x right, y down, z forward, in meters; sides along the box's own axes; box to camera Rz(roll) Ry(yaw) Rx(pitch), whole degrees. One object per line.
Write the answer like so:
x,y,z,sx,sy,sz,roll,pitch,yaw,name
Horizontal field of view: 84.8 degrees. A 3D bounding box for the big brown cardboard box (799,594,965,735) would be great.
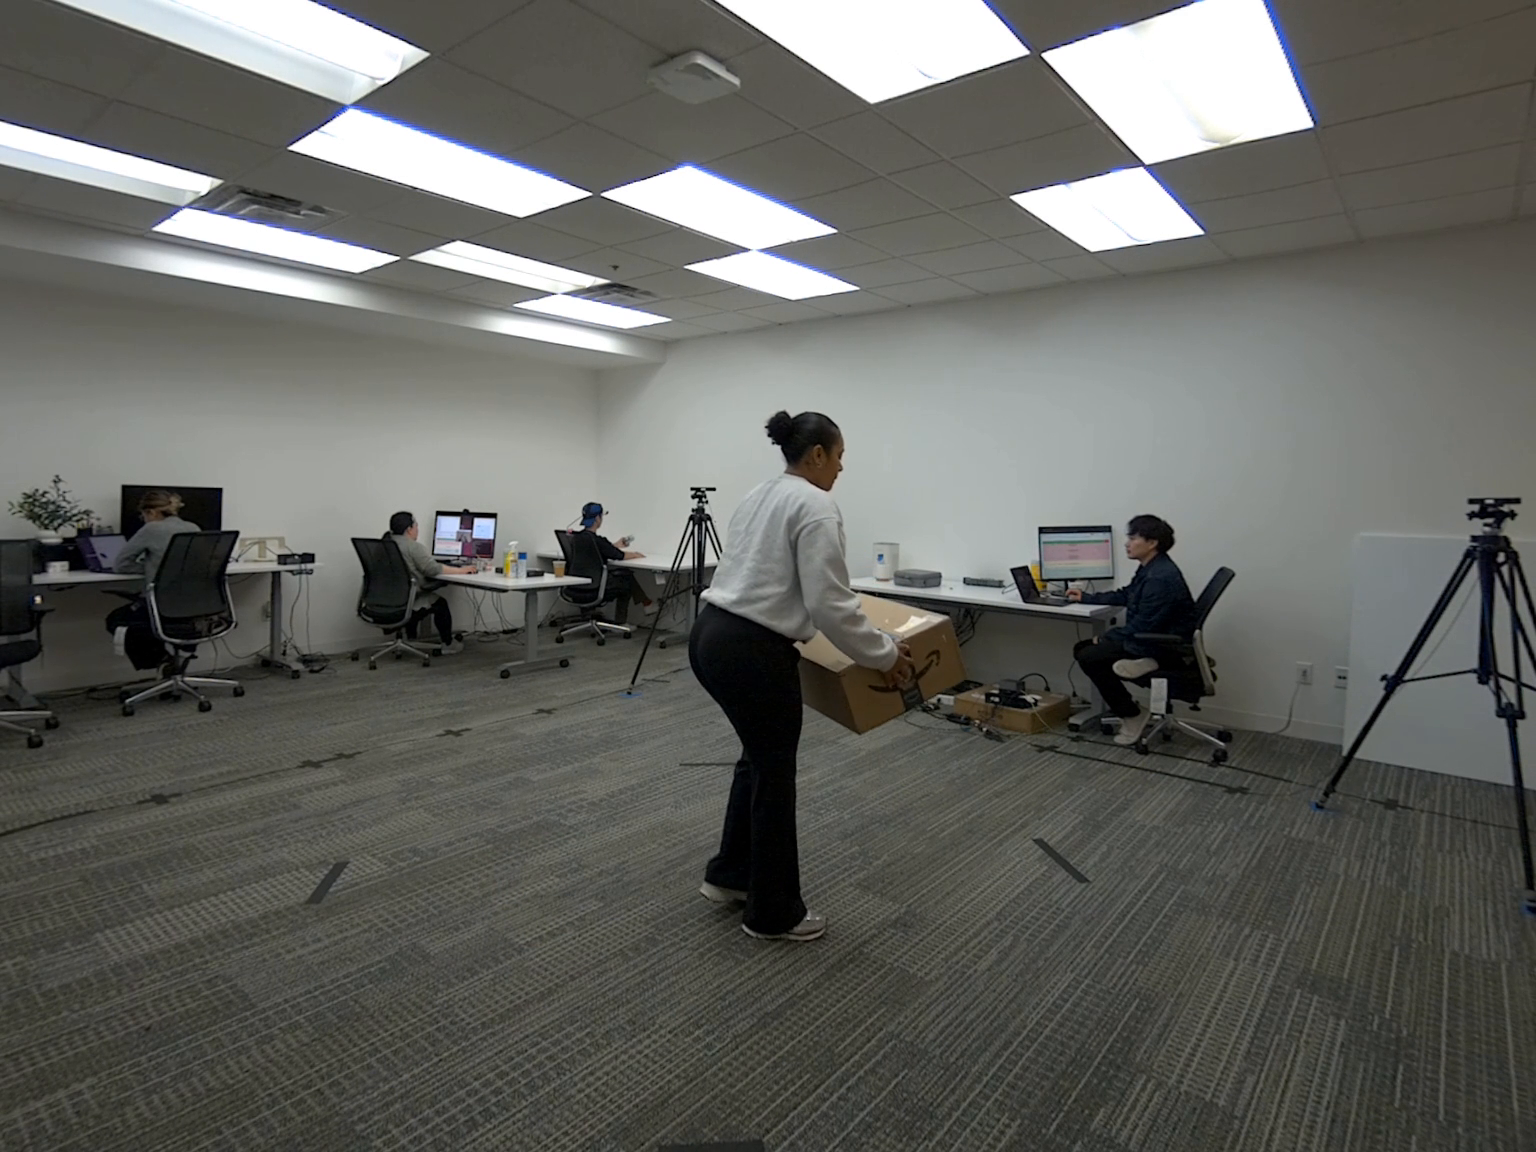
0.295,0.275,2.846,0.413,0.230,0.604,-23,14,-20,big brown cardboard box
